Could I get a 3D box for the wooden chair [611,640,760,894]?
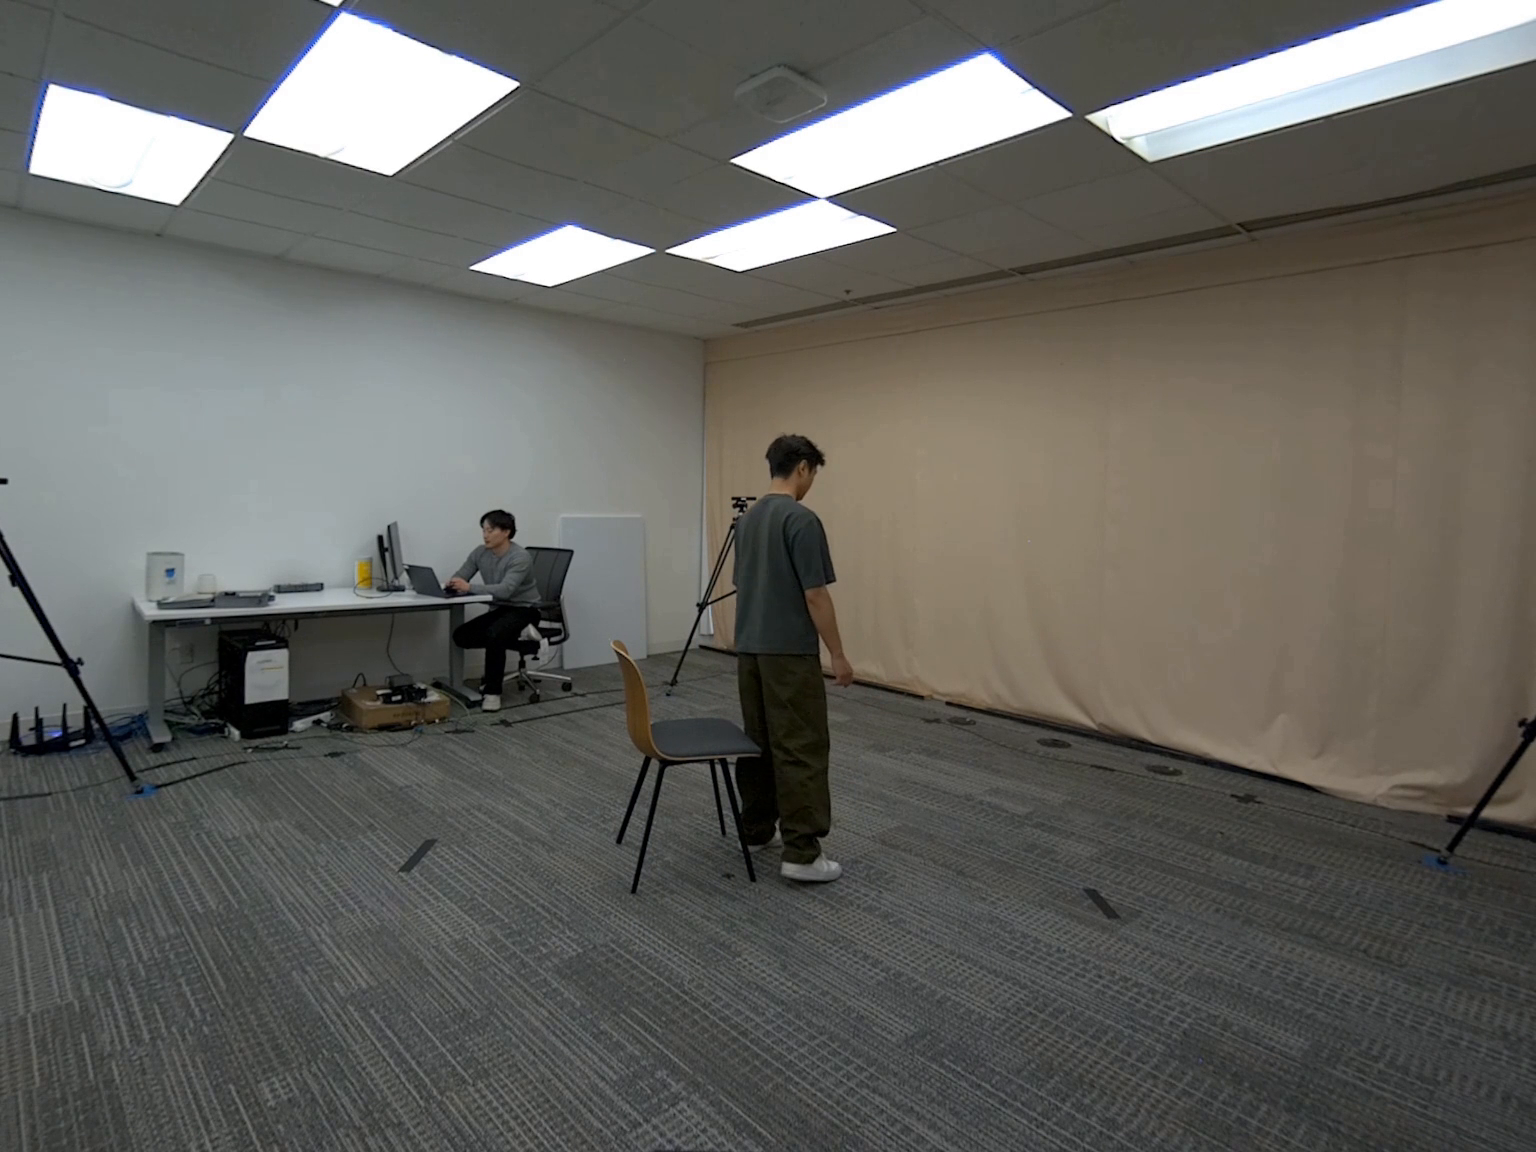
[{"bbox_3d":[-0.318,0.667,3.184,0.517,0.875,0.485,-4,4,-16],"label":"wooden chair"}]
